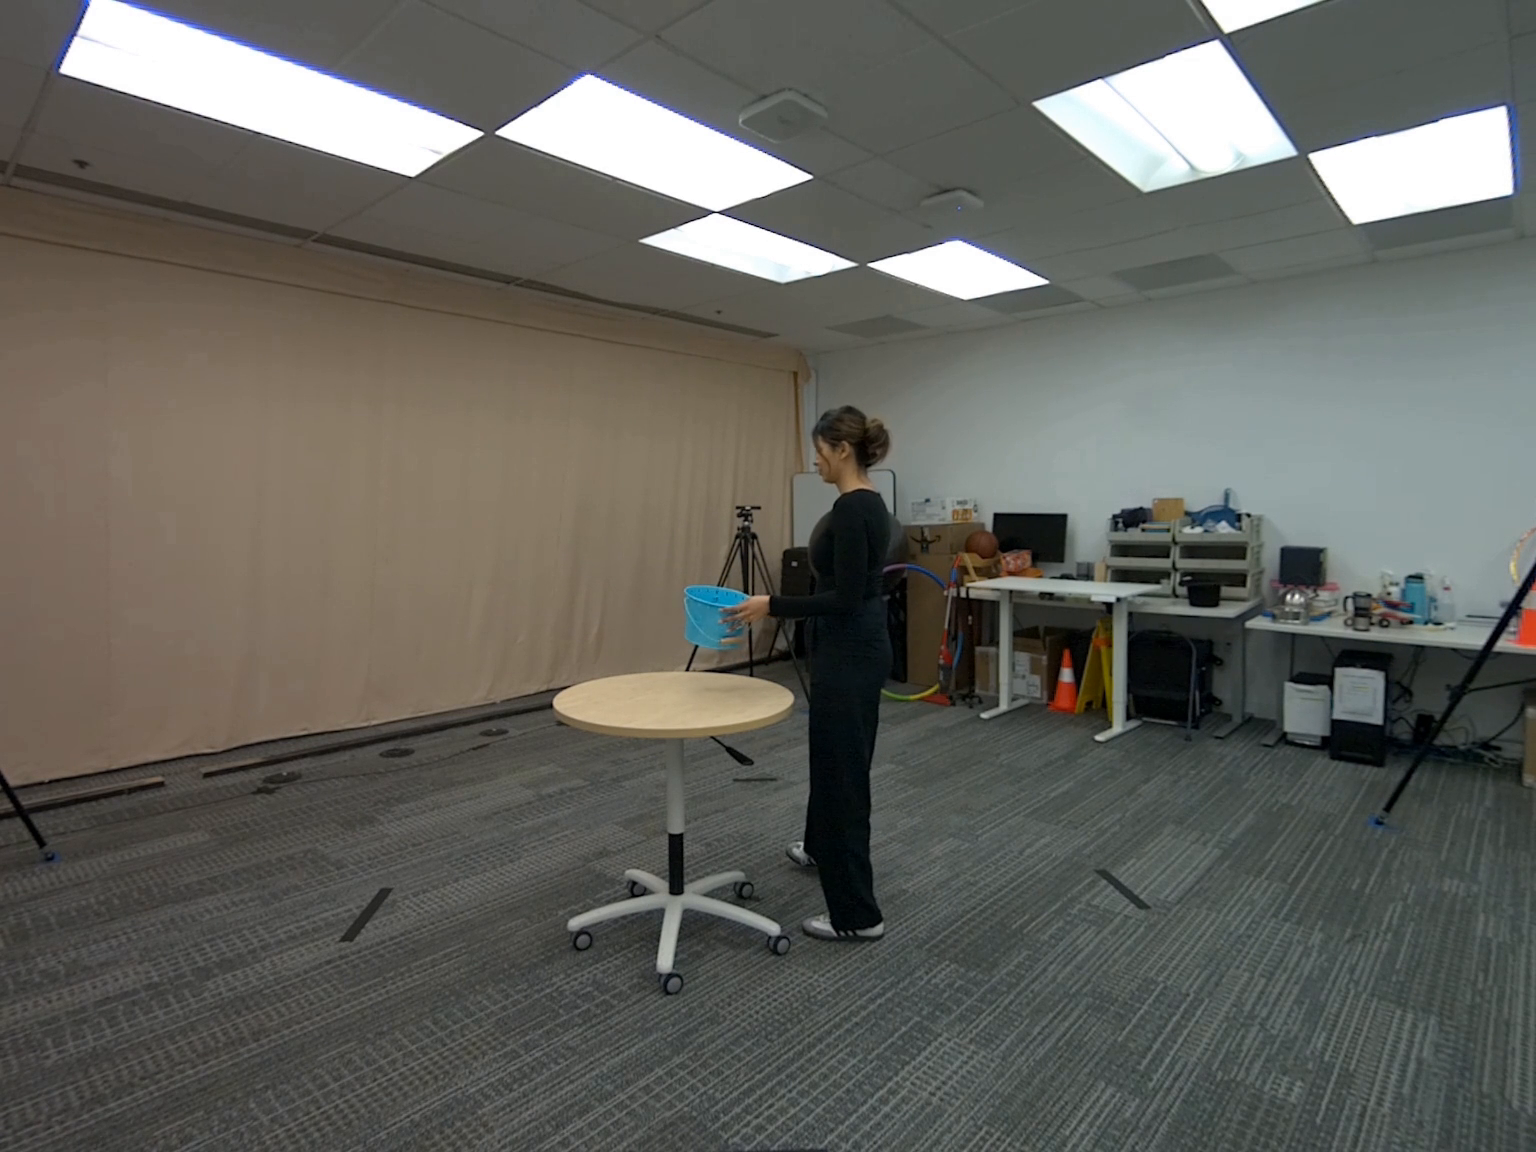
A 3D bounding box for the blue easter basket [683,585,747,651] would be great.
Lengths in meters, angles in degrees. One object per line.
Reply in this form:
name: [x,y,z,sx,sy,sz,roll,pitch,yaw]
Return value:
blue easter basket: [-0.159,0.143,2.741,0.243,0.155,0.245,6,11,-3]
